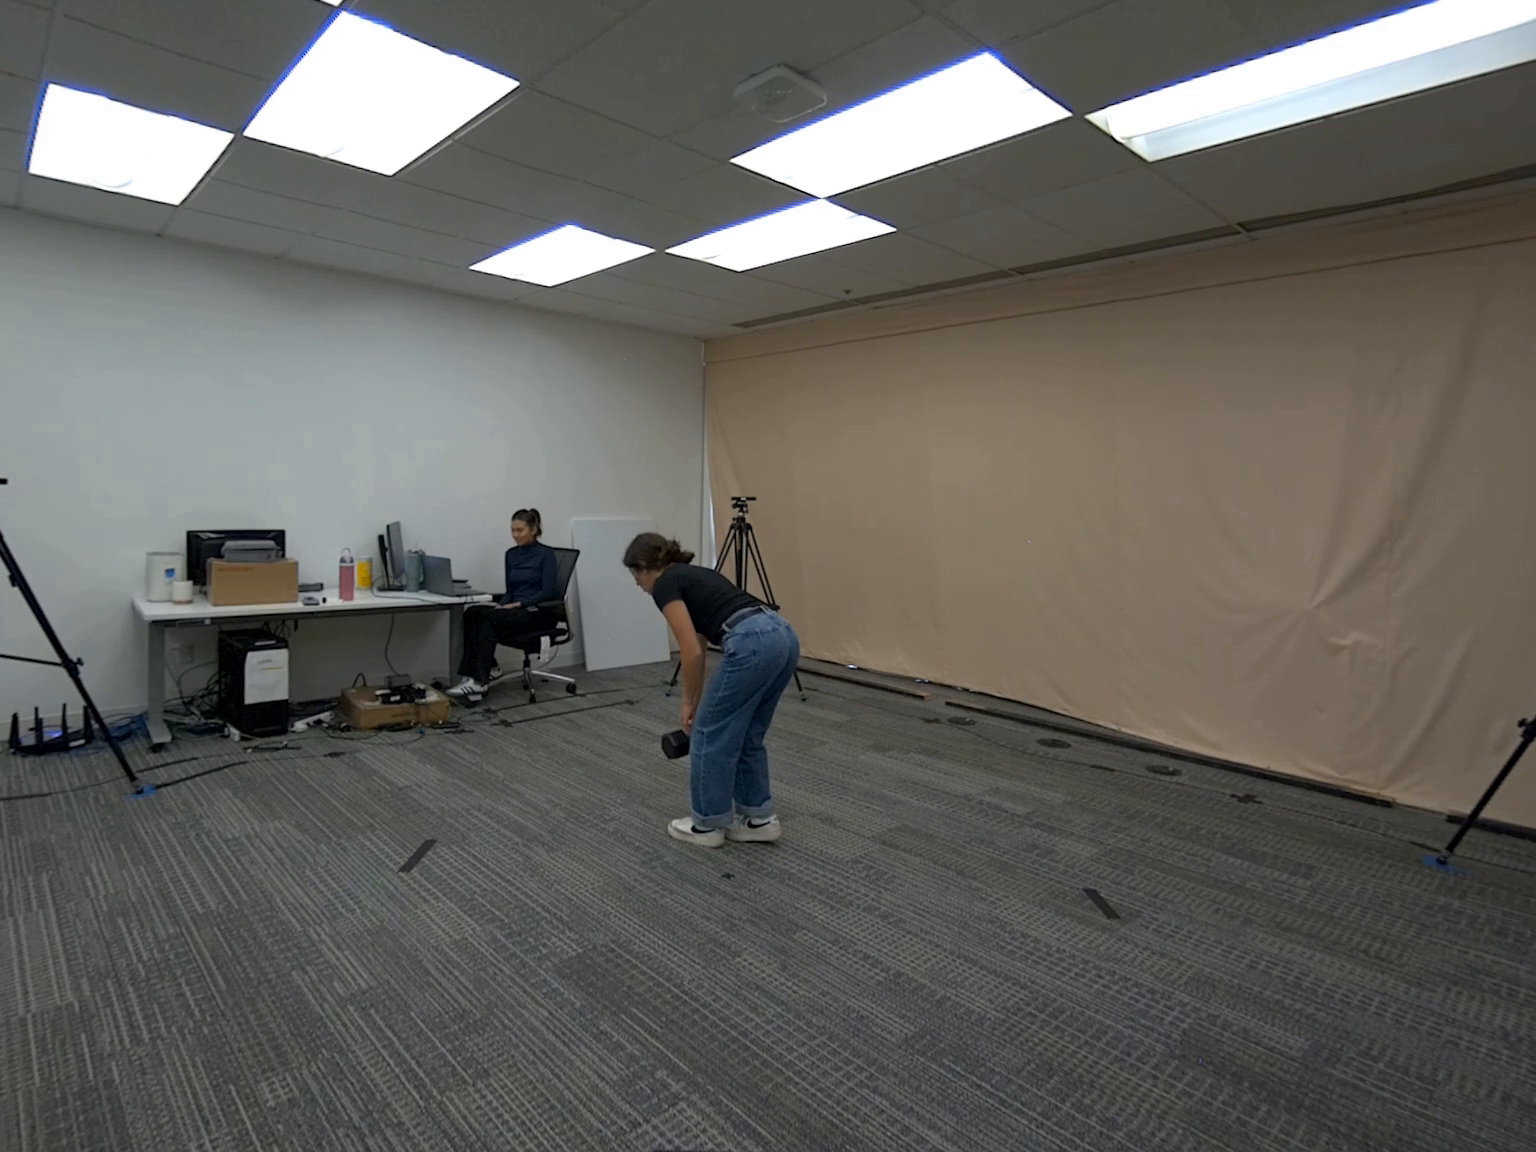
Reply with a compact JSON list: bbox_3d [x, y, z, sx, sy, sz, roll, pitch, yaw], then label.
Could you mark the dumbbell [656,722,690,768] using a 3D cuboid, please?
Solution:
[{"bbox_3d":[-0.298,0.668,3.510,0.288,0.108,0.126,-13,52,-39],"label":"dumbbell"}]
